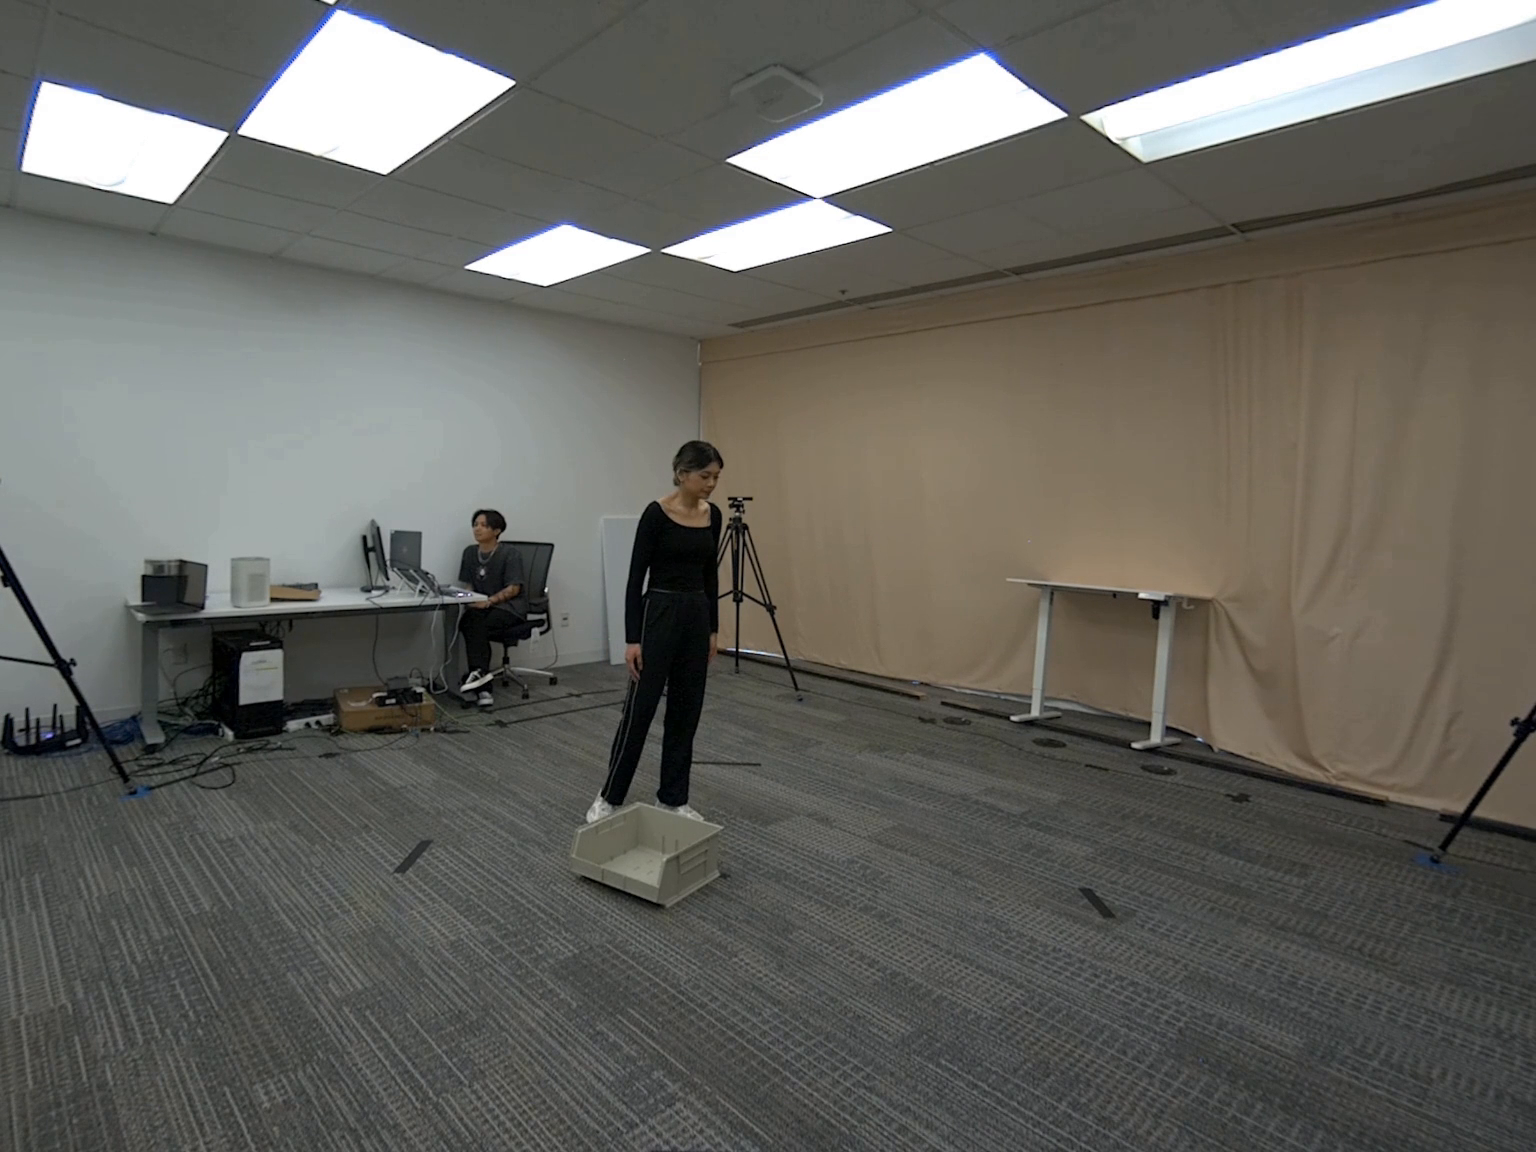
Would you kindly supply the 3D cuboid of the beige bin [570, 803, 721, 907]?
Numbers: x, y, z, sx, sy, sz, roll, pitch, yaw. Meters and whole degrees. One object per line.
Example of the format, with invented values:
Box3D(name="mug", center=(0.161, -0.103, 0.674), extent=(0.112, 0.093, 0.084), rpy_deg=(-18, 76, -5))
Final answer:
Box3D(name="beige bin", center=(-0.446, 1.015, 3.076), extent=(0.432, 0.188, 0.369), rpy_deg=(4, 4, 34))
